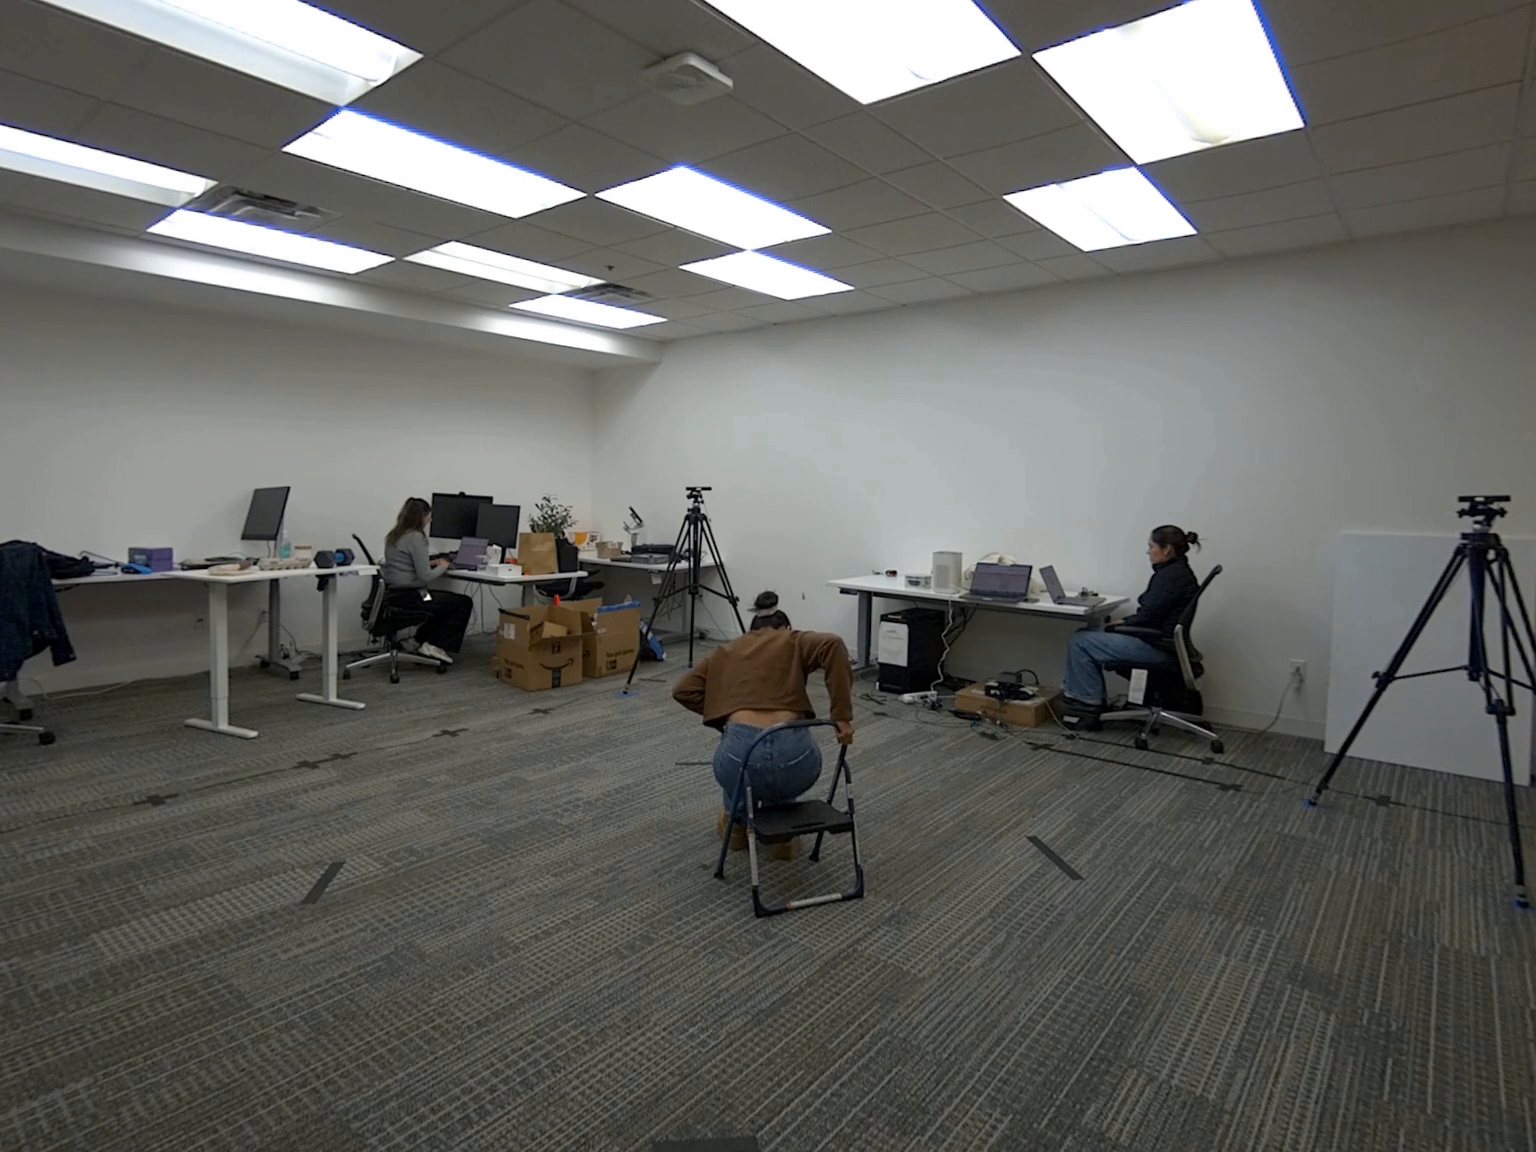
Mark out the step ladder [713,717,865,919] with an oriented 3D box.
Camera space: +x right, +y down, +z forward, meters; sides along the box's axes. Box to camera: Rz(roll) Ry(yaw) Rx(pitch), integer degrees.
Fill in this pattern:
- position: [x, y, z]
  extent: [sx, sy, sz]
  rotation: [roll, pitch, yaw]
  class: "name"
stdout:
- position: [0.068, 0.786, 2.969]
  extent: [0.420, 0.604, 0.359]
  rotation: [0, 3, -26]
  class: "step ladder"
